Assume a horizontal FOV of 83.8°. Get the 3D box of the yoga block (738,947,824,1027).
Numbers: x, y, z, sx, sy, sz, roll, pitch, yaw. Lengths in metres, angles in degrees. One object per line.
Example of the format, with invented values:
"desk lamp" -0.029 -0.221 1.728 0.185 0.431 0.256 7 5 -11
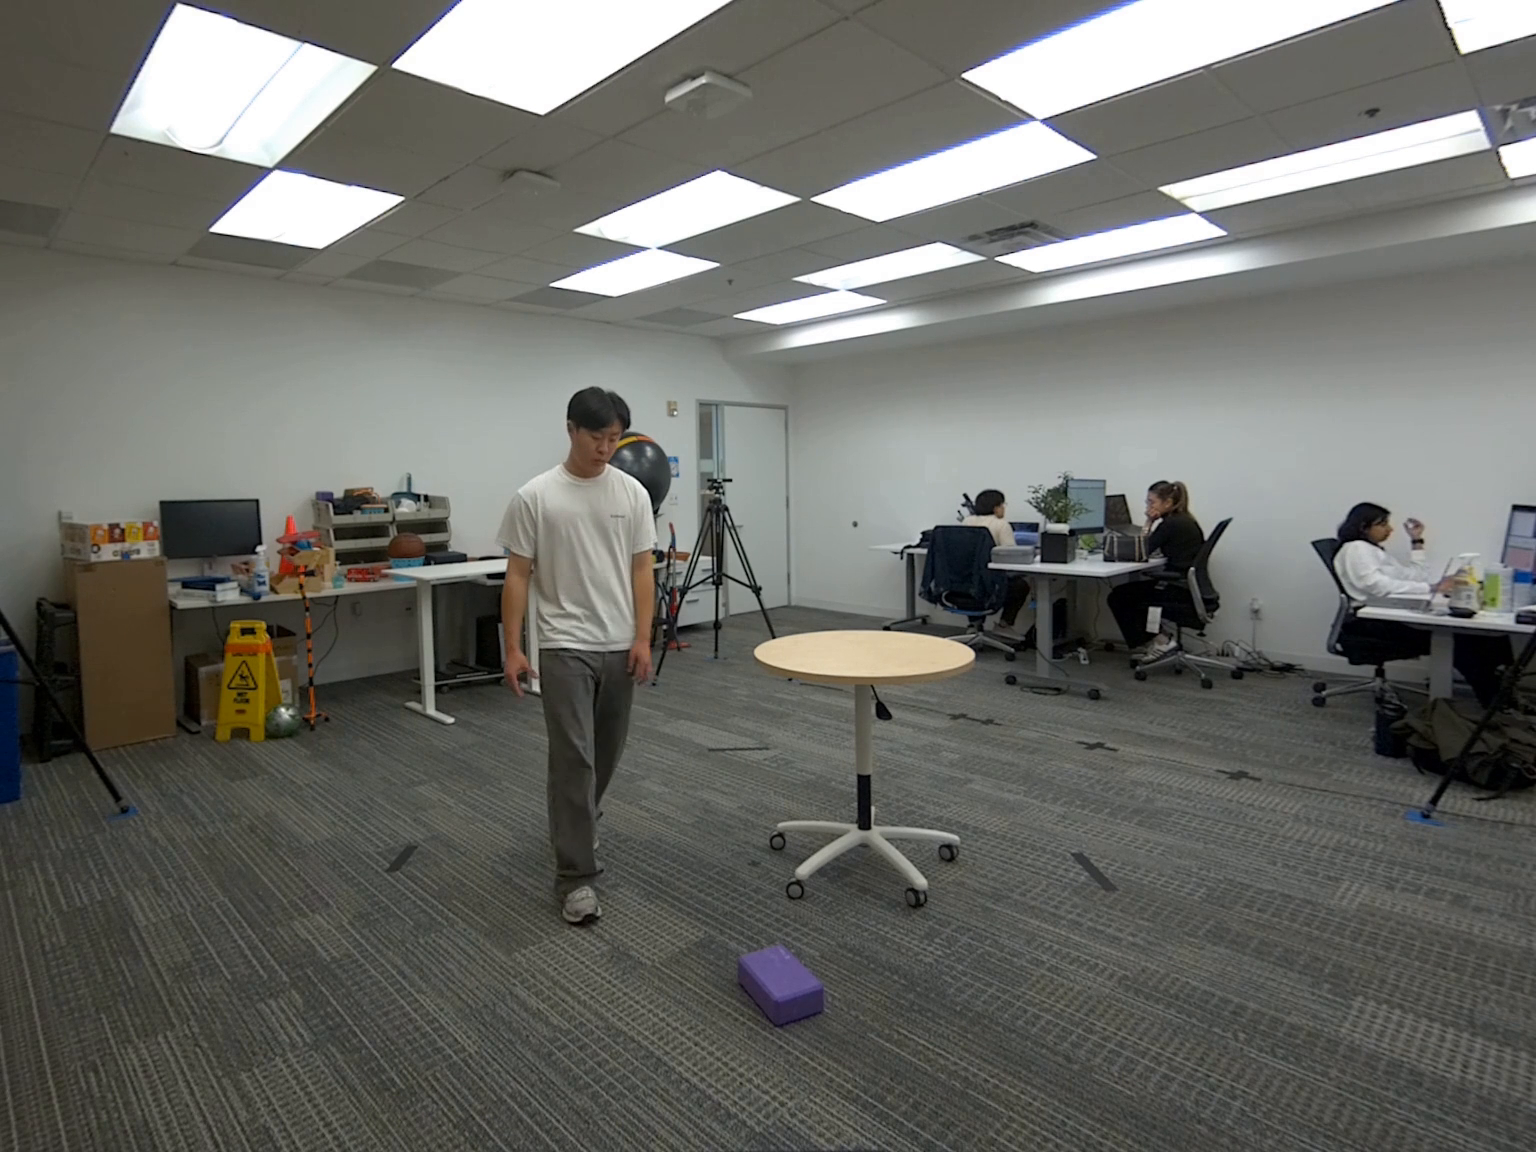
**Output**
"yoga block" 0.039 1.102 2.306 0.146 0.076 0.235 -4 7 -27
